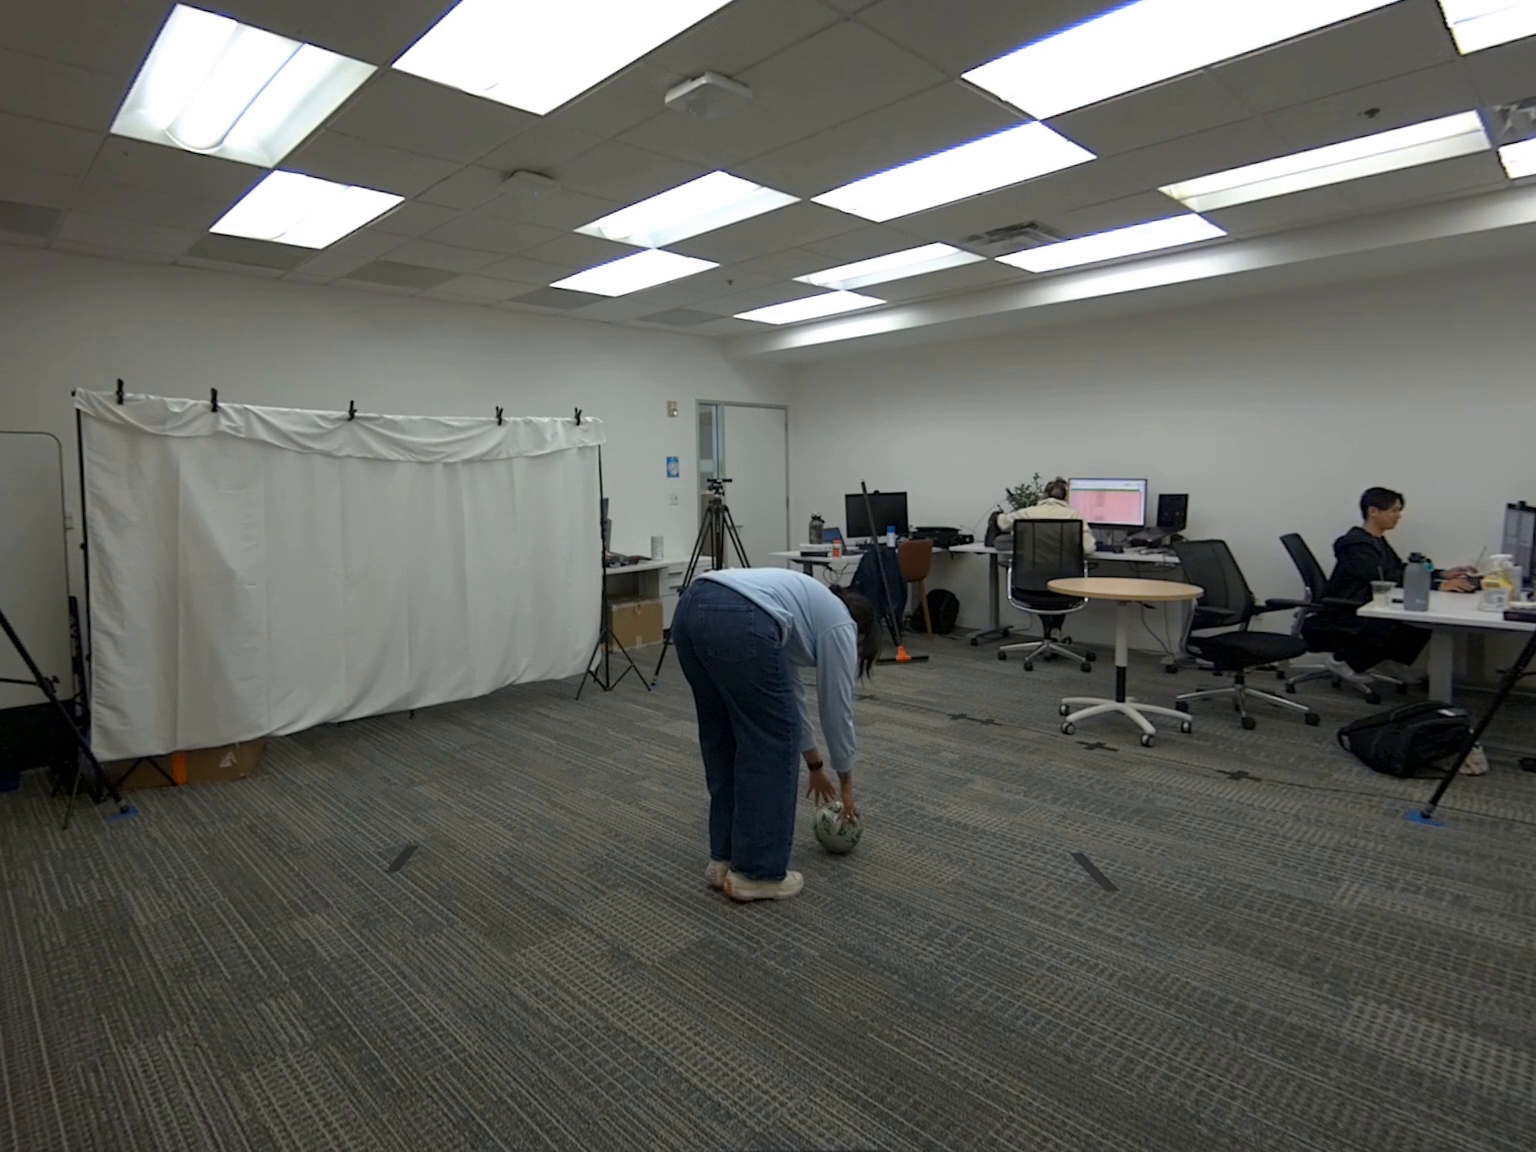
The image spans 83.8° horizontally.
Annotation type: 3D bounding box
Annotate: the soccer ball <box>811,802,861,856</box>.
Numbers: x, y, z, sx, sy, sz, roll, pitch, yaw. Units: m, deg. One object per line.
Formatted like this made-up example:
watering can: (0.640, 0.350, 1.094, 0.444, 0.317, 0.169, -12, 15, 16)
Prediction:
soccer ball: (0.261, 0.938, 3.199, 0.187, 0.187, 0.188, -1, 5, -2)
